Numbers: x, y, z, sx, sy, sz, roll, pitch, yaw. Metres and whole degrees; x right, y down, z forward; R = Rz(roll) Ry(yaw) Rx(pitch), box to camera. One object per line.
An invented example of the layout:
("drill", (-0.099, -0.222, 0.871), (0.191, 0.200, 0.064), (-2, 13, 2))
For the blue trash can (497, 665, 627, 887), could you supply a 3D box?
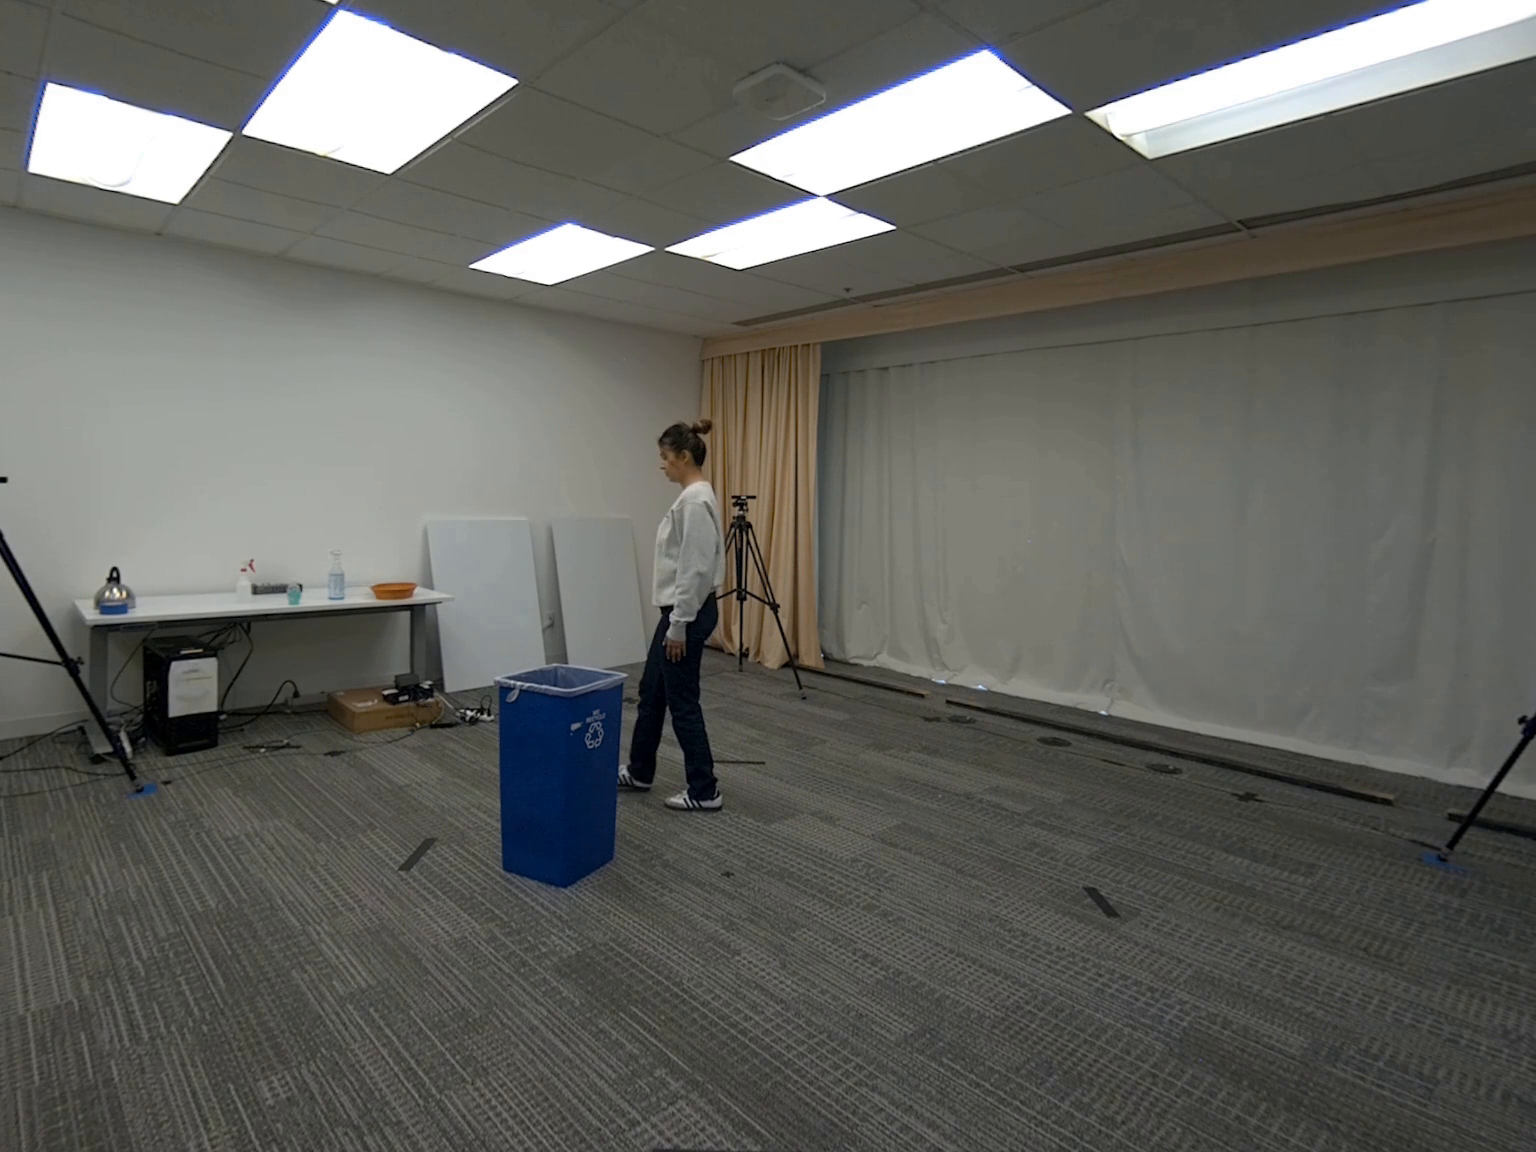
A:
("blue trash can", (-0.782, 0.728, 3.147), (0.386, 0.712, 0.367), (4, 4, 27))
